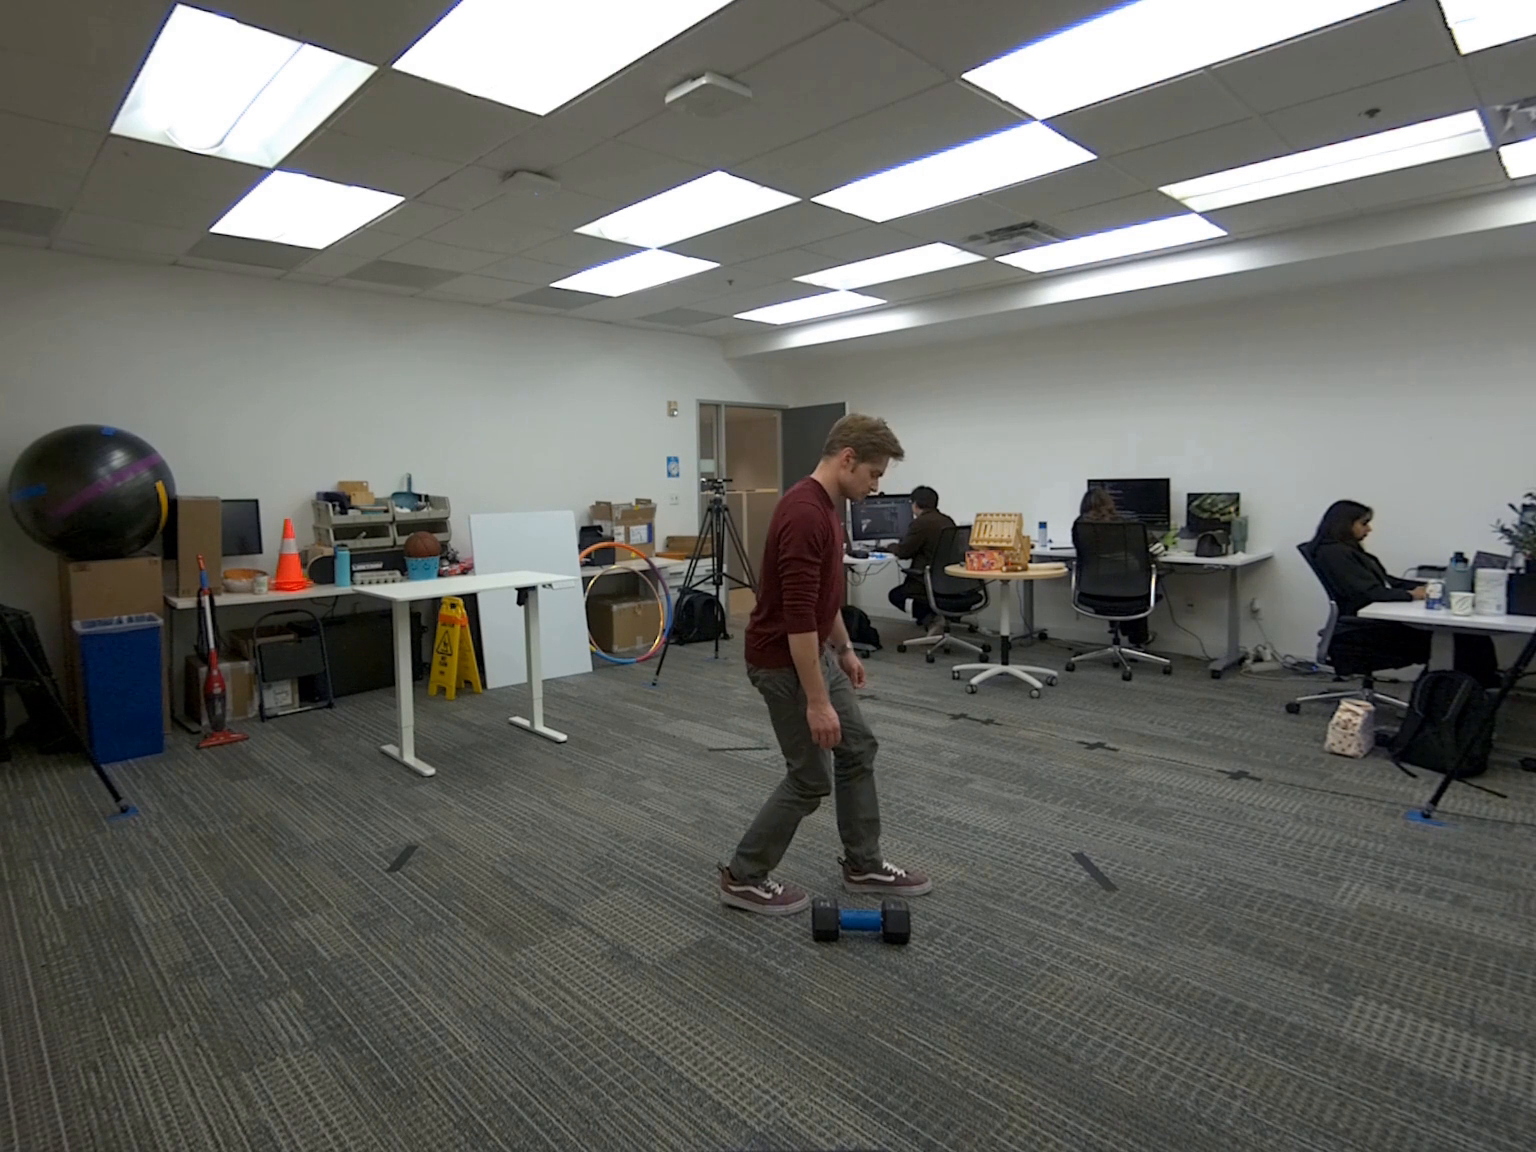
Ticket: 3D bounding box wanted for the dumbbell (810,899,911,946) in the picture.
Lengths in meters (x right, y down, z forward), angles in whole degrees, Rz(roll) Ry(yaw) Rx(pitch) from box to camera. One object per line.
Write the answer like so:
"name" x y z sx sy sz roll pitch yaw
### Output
"dumbbell" 0.287 1.048 2.587 0.295 0.125 0.106 0 -26 6
